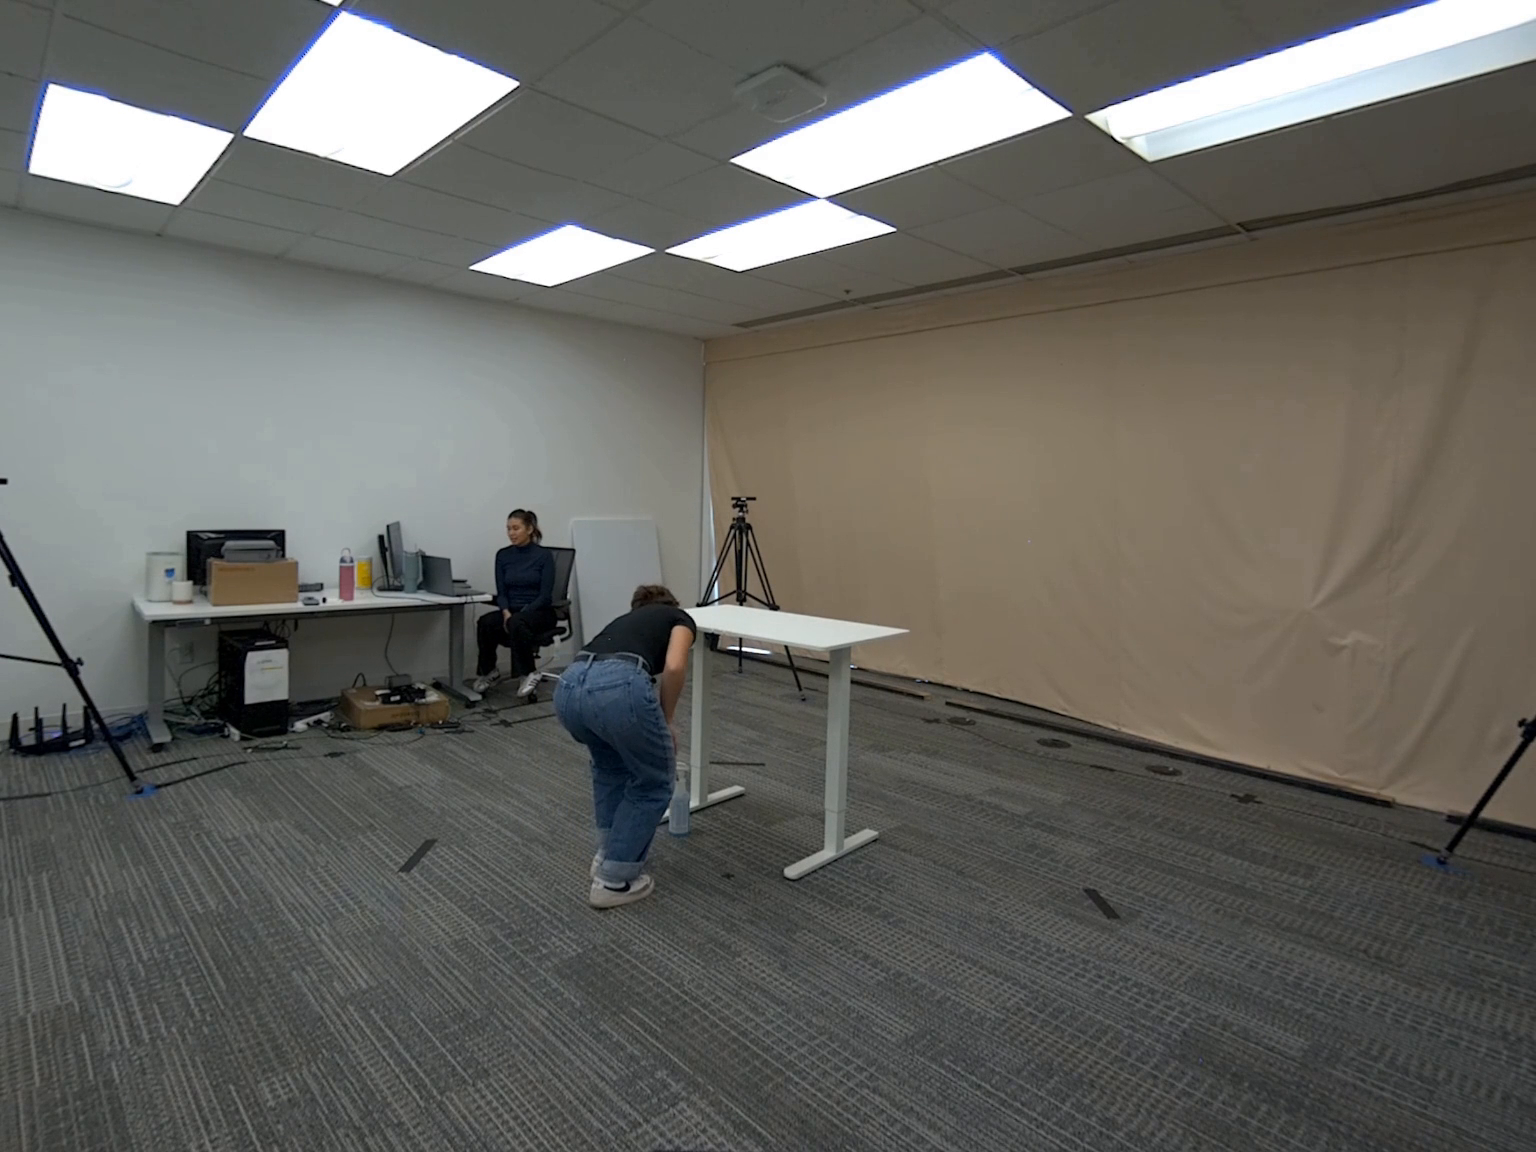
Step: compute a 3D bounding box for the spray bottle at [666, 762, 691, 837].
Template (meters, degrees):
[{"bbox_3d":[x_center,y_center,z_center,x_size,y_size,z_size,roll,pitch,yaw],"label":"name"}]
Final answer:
[{"bbox_3d":[-0.383,0.929,3.499,0.091,0.297,0.085,-2,1,24],"label":"spray bottle"}]
